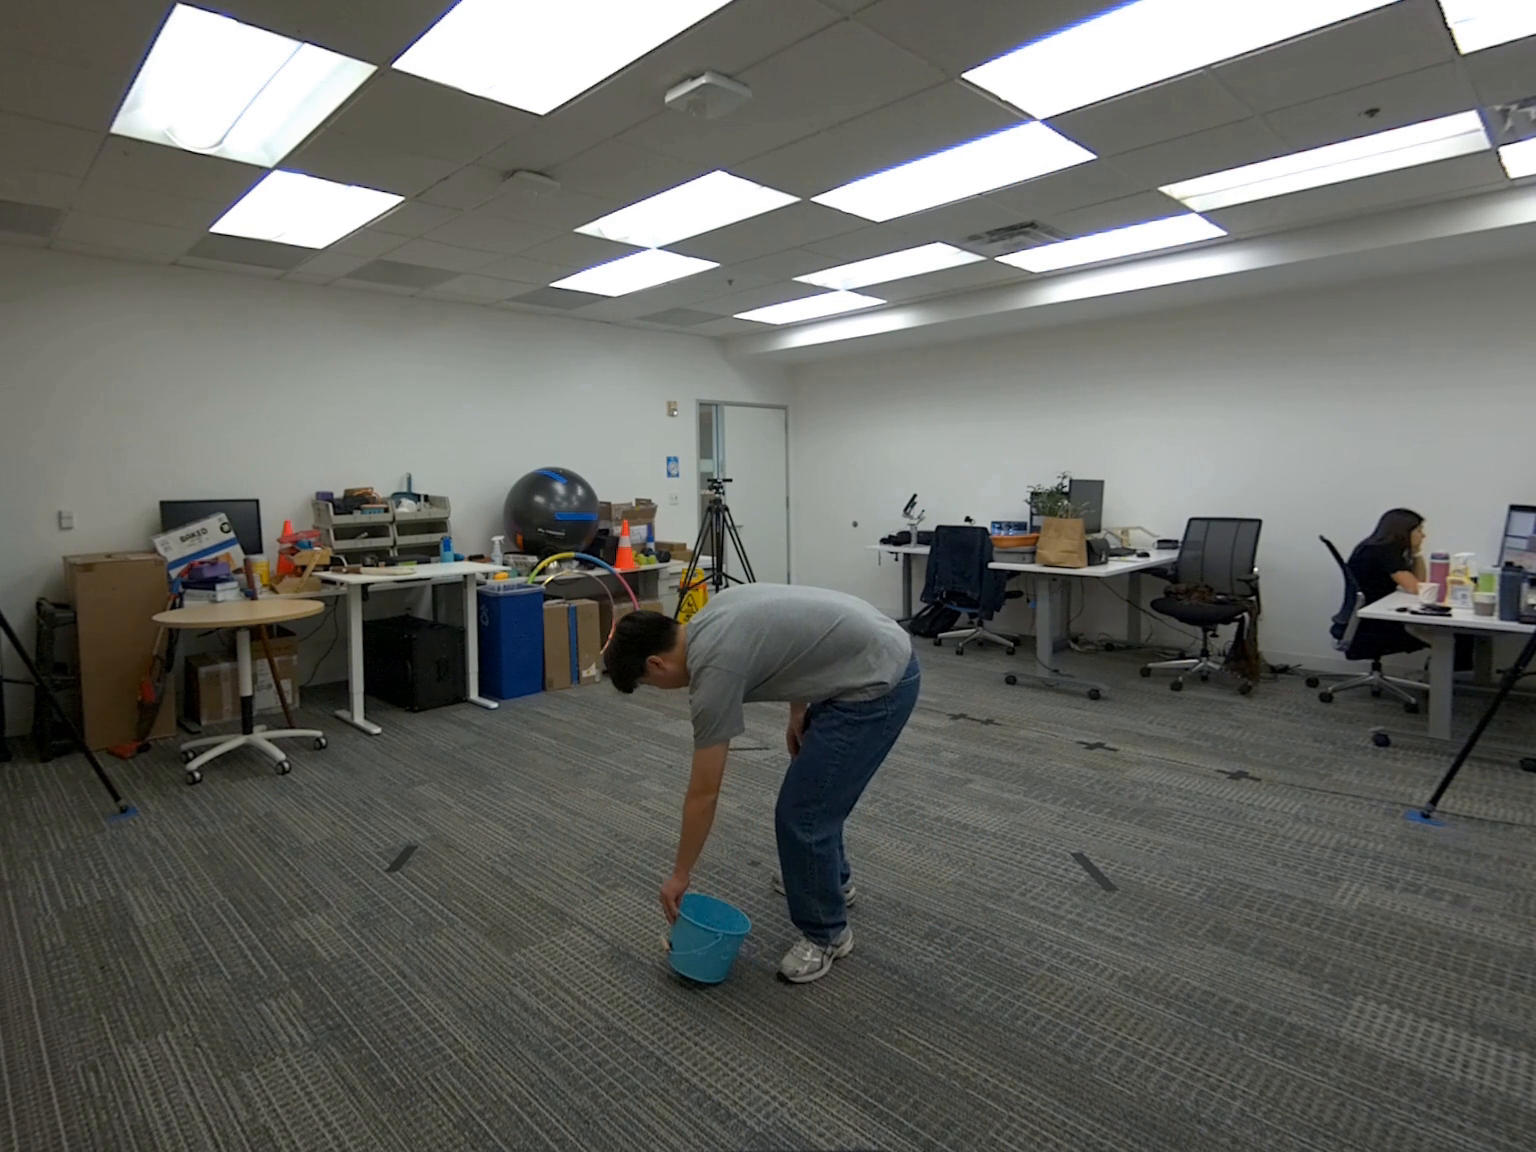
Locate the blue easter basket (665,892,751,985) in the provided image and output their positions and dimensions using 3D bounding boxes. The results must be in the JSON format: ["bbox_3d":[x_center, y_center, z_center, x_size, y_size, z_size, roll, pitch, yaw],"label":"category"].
[{"bbox_3d":[-0.173,1.030,2.421,0.243,0.156,0.244,18,1,-2],"label":"blue easter basket"}]
